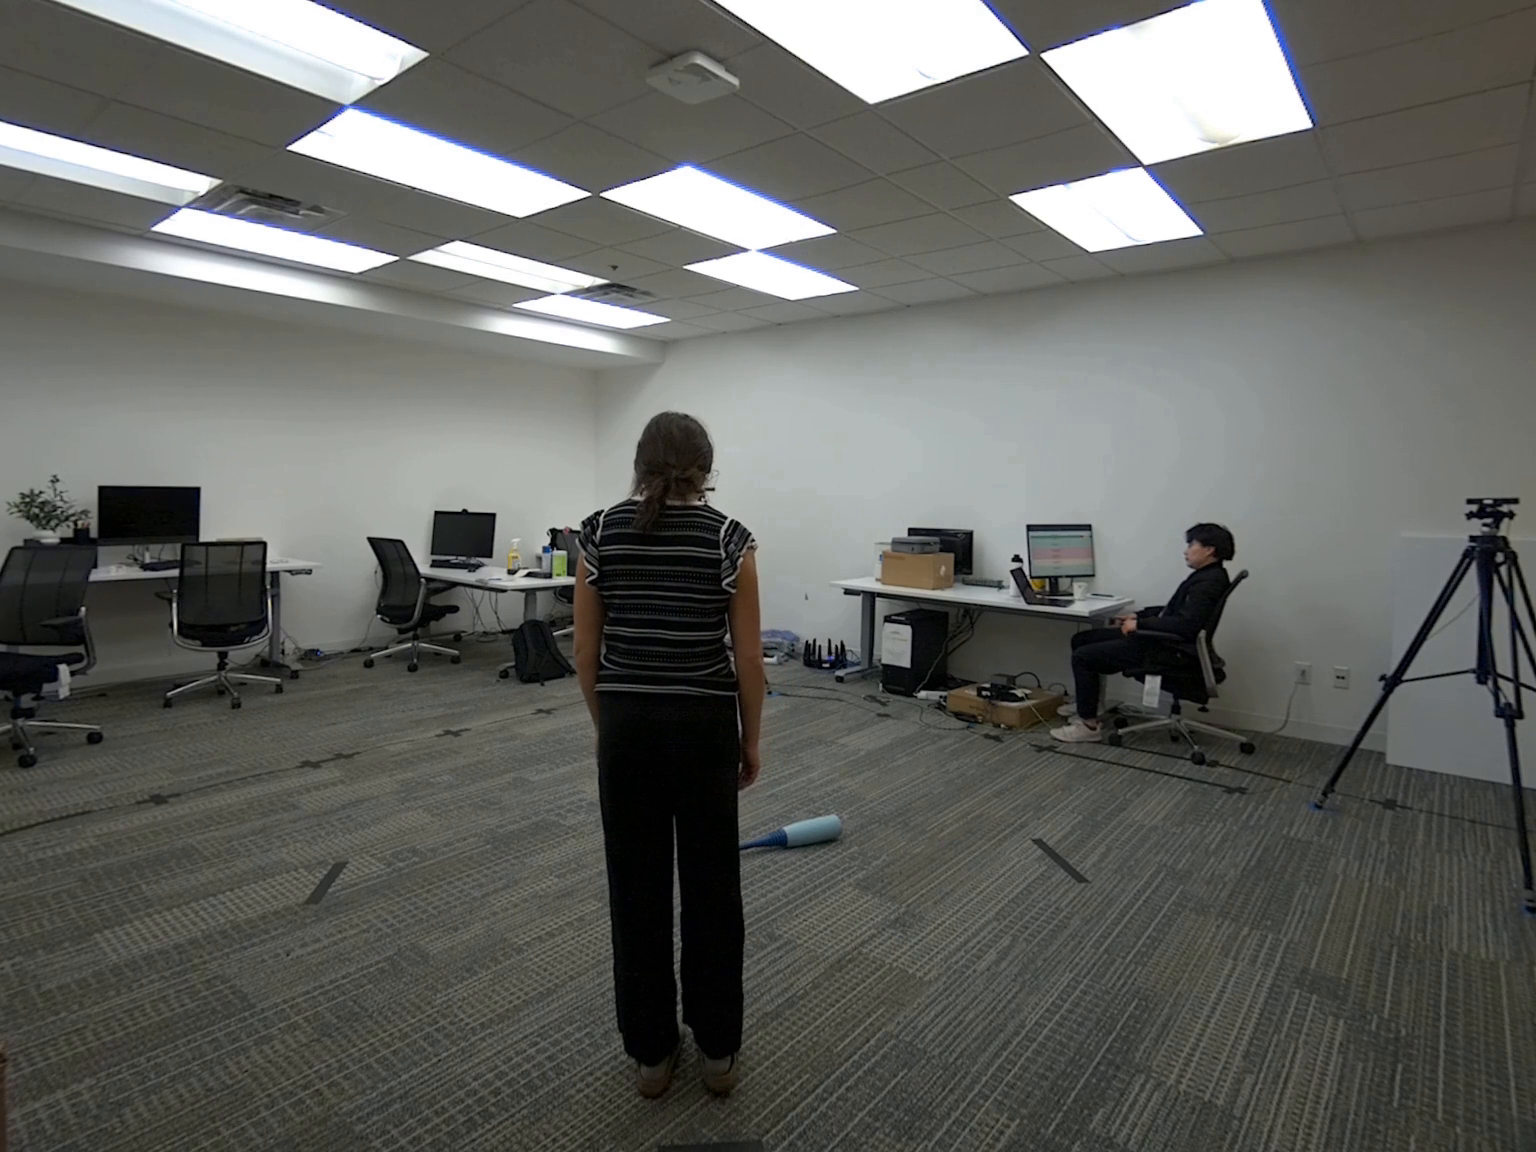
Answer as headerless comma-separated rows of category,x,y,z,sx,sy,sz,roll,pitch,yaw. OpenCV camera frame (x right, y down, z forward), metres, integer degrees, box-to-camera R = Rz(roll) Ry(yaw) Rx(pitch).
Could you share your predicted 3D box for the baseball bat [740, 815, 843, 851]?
baseball bat,0.035,1.018,3.301,0.531,0.088,0.091,-5,6,-24
